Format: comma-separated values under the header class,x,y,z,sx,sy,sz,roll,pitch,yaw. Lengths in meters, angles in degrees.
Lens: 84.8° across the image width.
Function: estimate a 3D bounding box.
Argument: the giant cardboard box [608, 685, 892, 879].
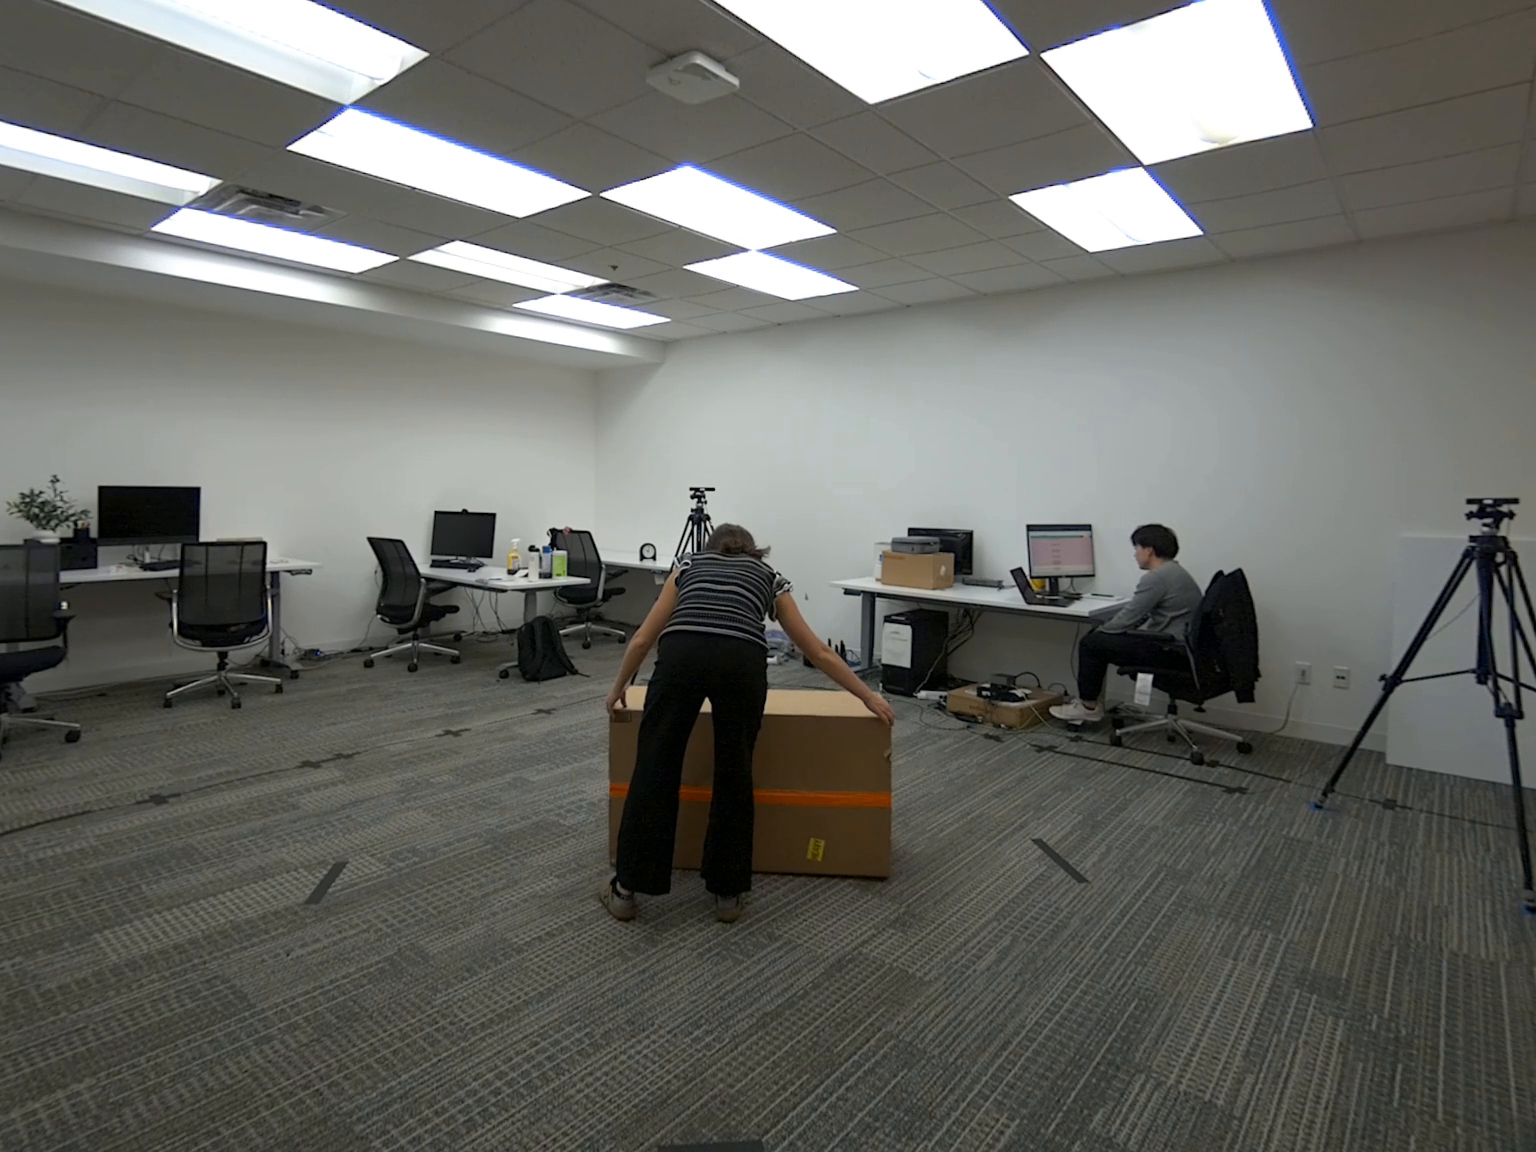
class,x,y,z,sx,sy,sz,roll,pitch,yaw
giant cardboard box,-0.074,0.751,3.262,1.031,0.576,0.426,0,4,4
